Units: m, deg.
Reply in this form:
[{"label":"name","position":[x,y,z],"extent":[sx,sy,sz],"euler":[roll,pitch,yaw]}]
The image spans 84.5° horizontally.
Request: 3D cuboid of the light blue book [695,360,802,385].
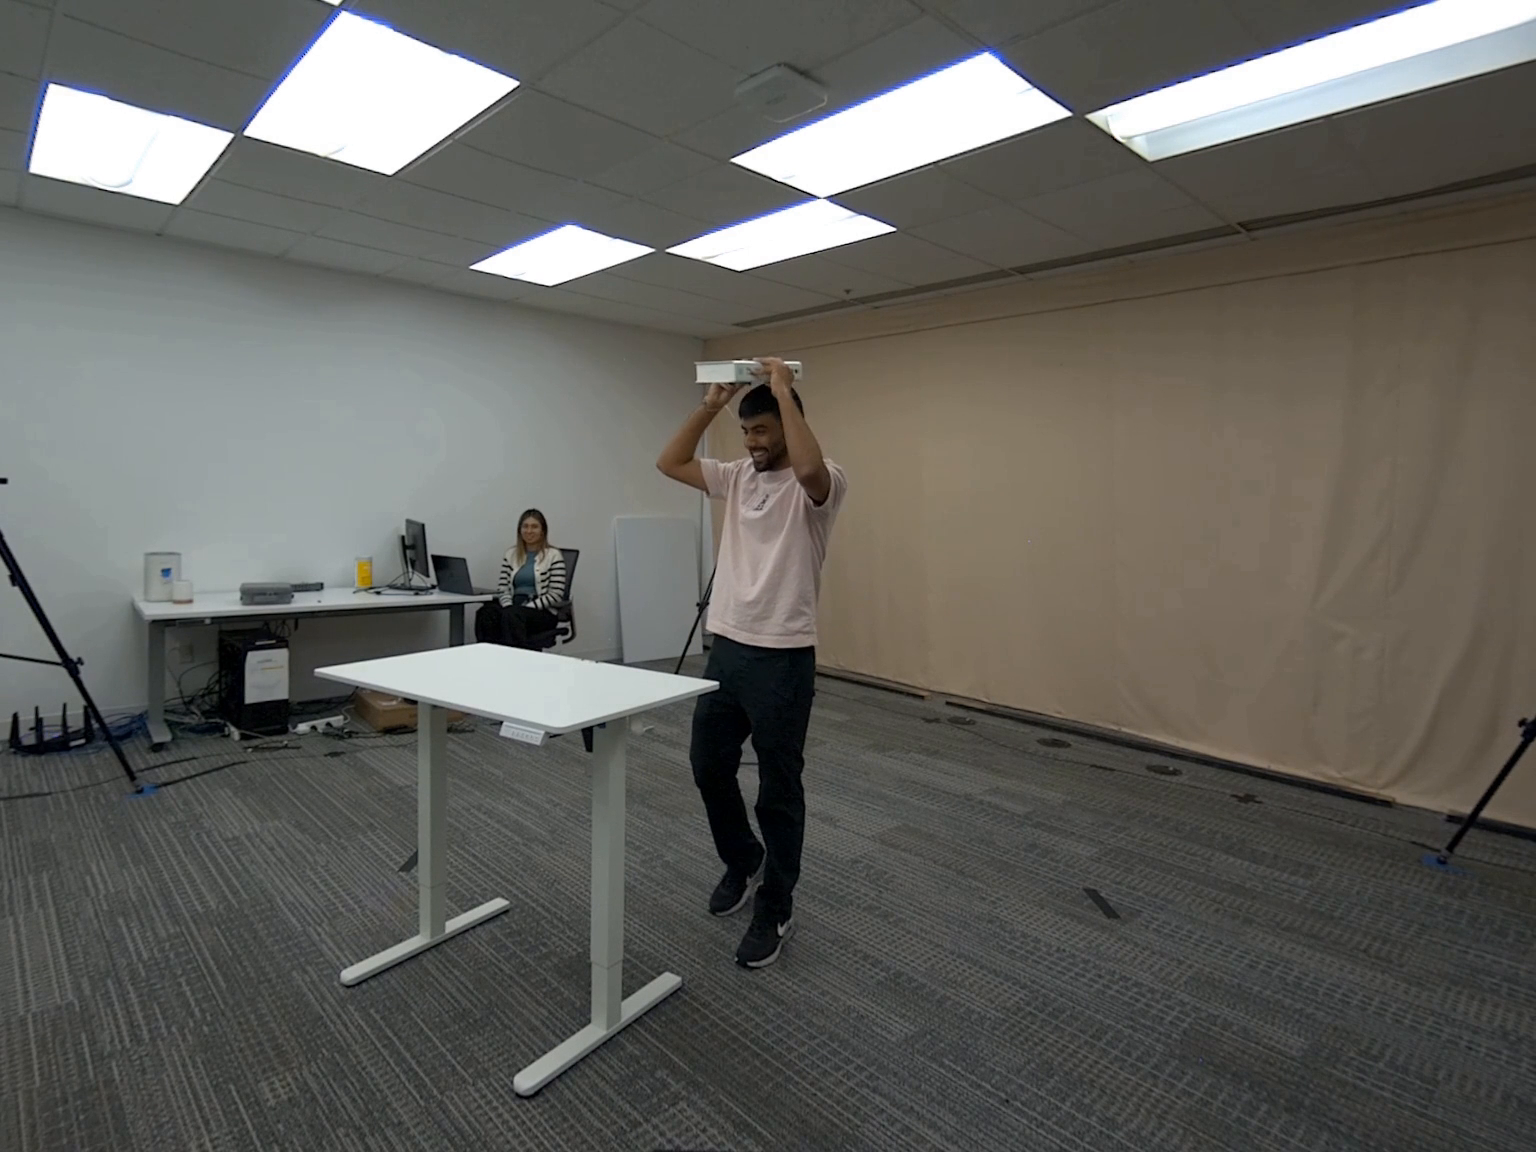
[{"label":"light blue book","position":[-0.056,-0.604,2.499],"extent":[0.256,0.058,0.197],"euler":[-12,17,-39]}]
